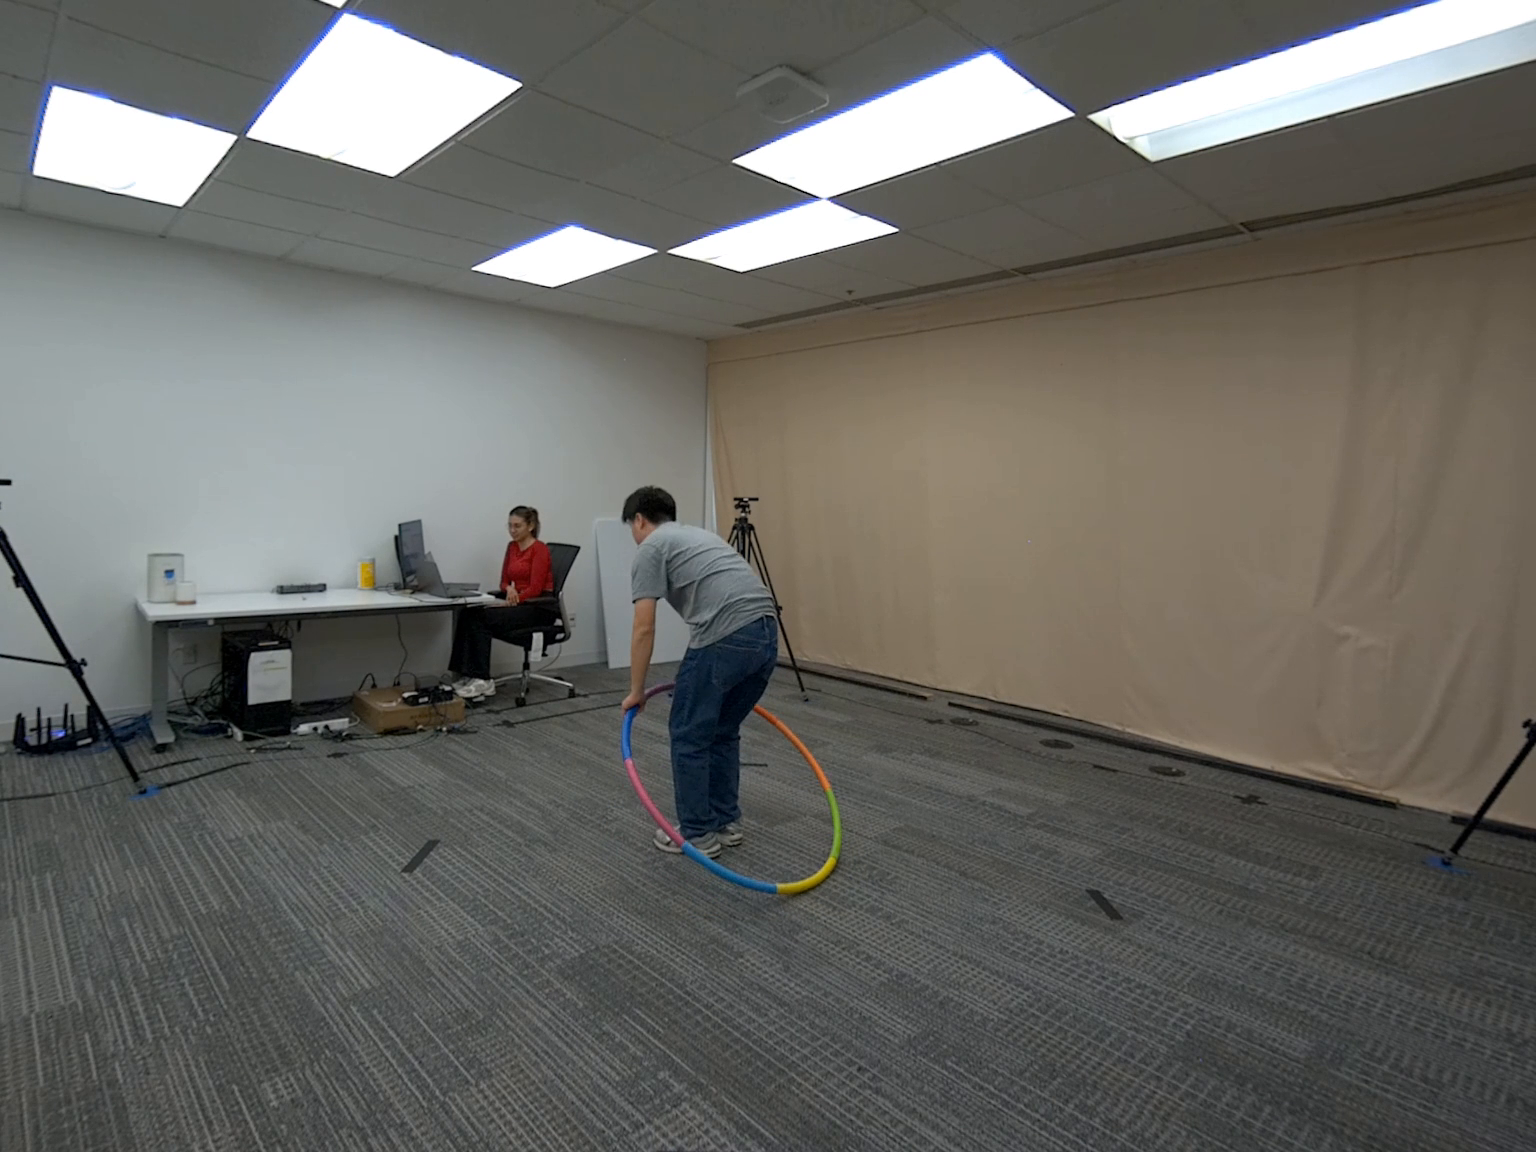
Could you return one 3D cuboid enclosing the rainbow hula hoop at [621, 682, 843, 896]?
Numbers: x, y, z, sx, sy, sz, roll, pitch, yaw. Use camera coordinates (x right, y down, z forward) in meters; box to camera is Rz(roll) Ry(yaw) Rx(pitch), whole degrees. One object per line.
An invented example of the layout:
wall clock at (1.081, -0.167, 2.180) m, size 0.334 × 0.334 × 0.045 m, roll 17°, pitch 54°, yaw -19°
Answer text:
rainbow hula hoop at (-0.138, 0.768, 3.269) m, size 0.964 × 0.035 × 0.998 m, roll 26°, pitch 26°, yaw -15°
